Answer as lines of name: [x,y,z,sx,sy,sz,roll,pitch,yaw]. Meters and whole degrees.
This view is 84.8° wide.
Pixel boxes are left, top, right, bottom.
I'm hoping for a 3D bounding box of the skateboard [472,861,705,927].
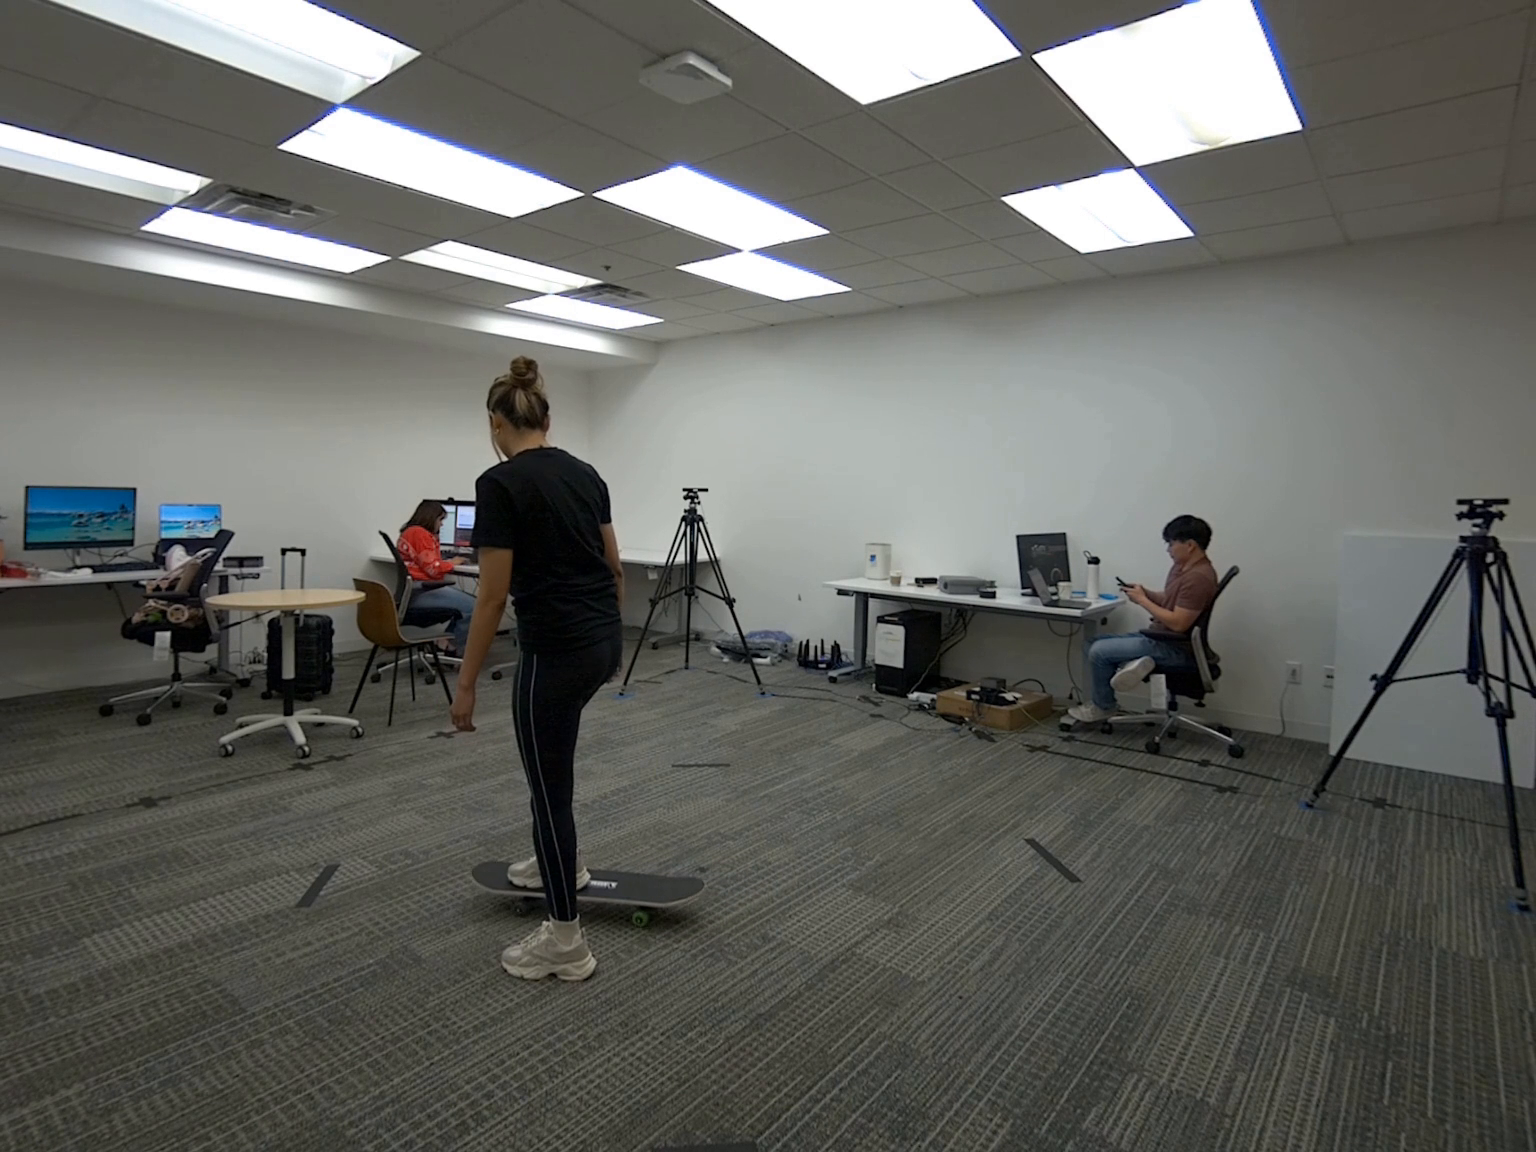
skateboard: [-0.604,1.036,2.795,0.792,0.110,0.193,1,5,7]
